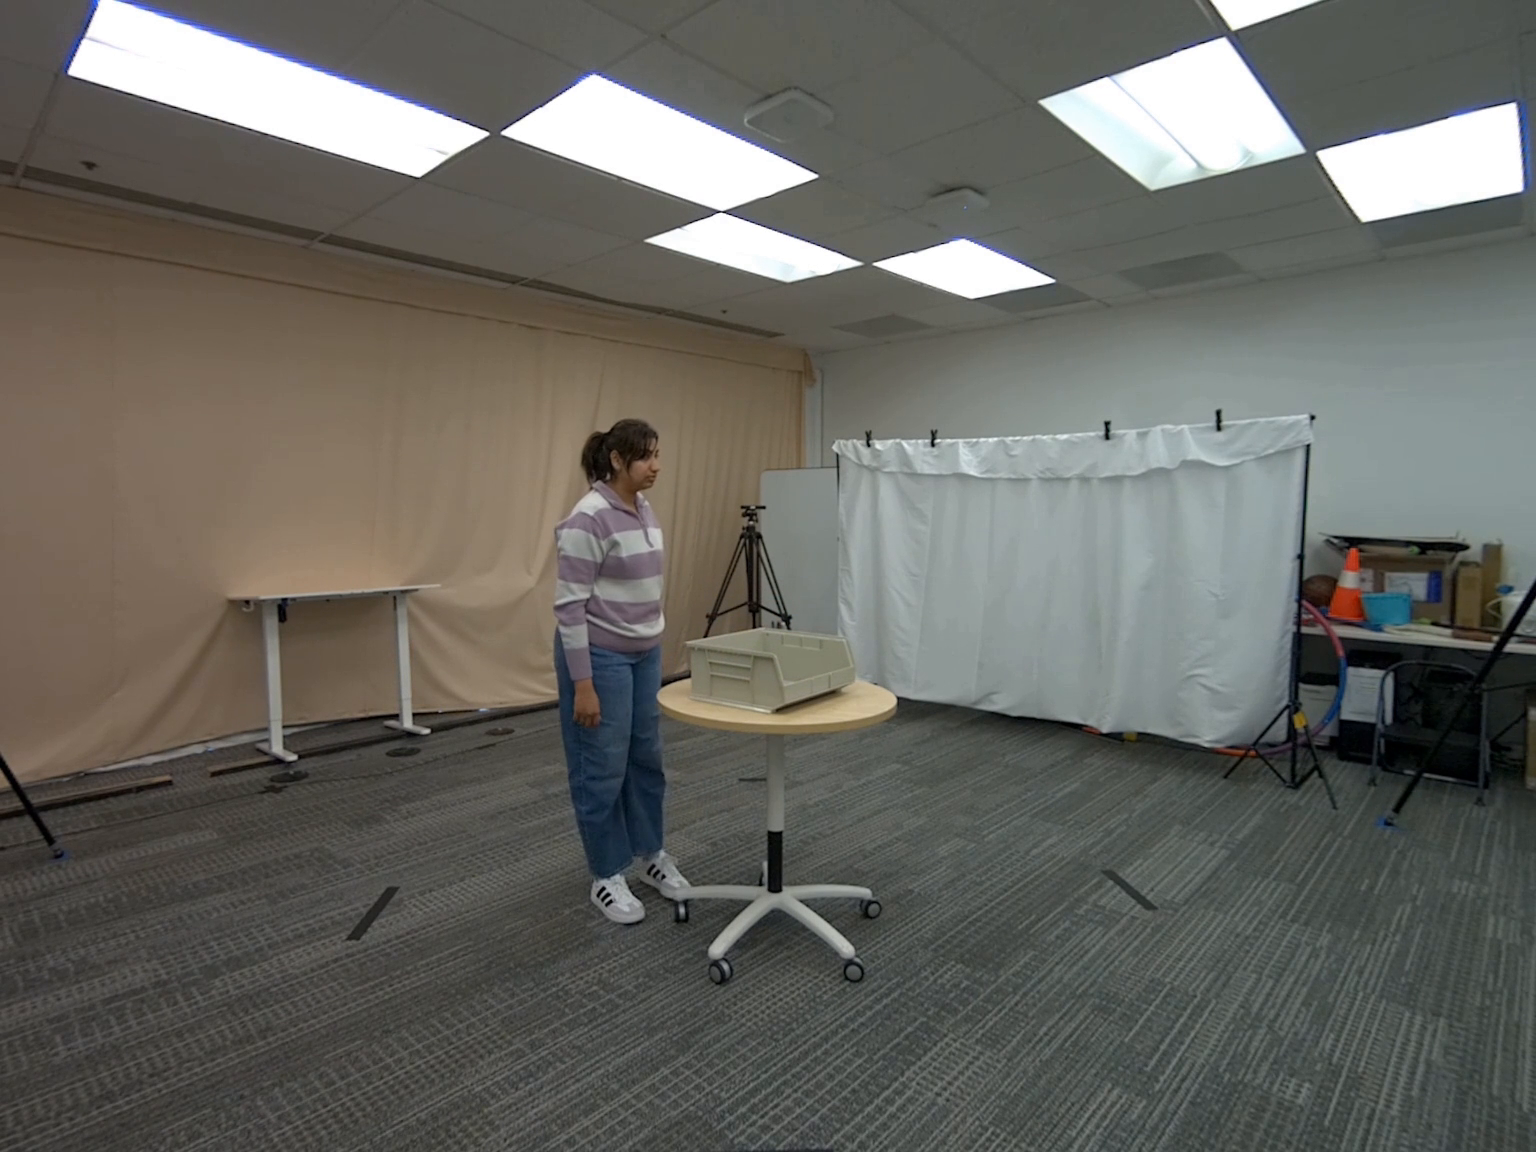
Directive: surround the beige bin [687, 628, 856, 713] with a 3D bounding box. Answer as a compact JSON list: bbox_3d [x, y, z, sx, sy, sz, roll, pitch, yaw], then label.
[{"bbox_3d":[0.016,0.293,2.686,0.389,0.188,0.410,1,5,36],"label":"beige bin"}]
